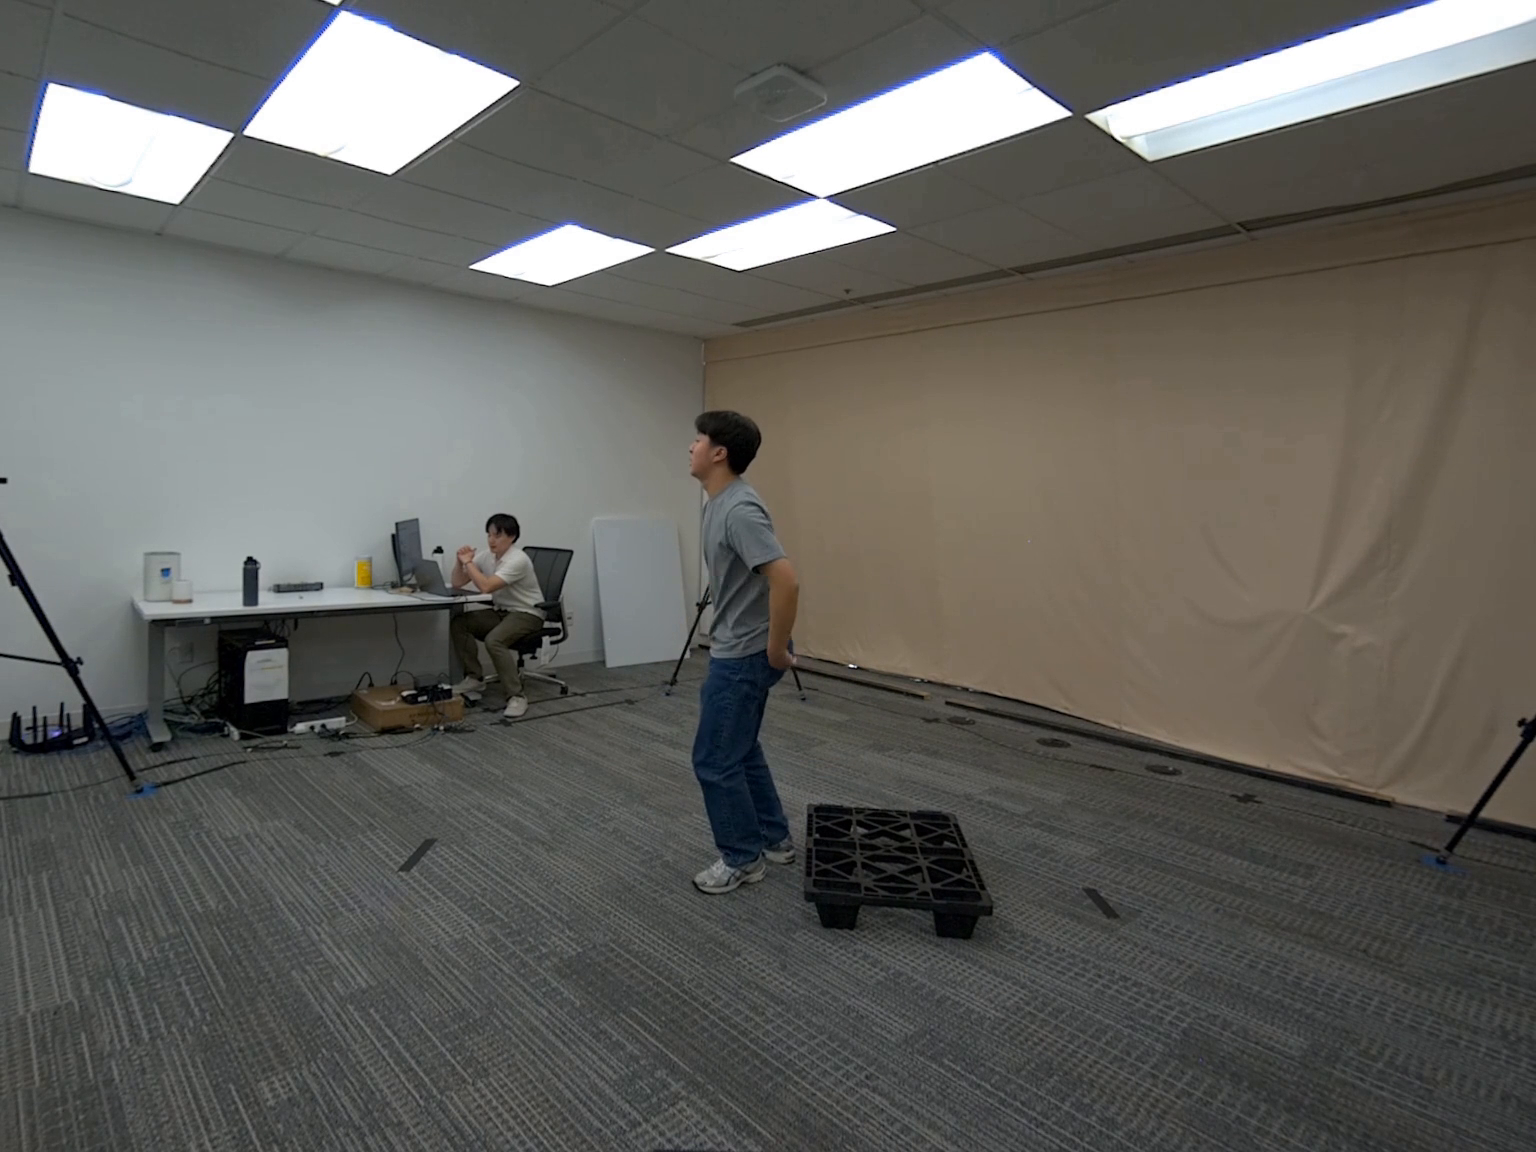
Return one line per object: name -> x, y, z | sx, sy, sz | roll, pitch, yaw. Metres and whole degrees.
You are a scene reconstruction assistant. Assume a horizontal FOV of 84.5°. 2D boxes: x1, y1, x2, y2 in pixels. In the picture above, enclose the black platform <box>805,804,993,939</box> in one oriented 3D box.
black platform -> 0.424, 1.052, 3.068 | 0.608, 0.143, 0.804 | 2, 5, 5
